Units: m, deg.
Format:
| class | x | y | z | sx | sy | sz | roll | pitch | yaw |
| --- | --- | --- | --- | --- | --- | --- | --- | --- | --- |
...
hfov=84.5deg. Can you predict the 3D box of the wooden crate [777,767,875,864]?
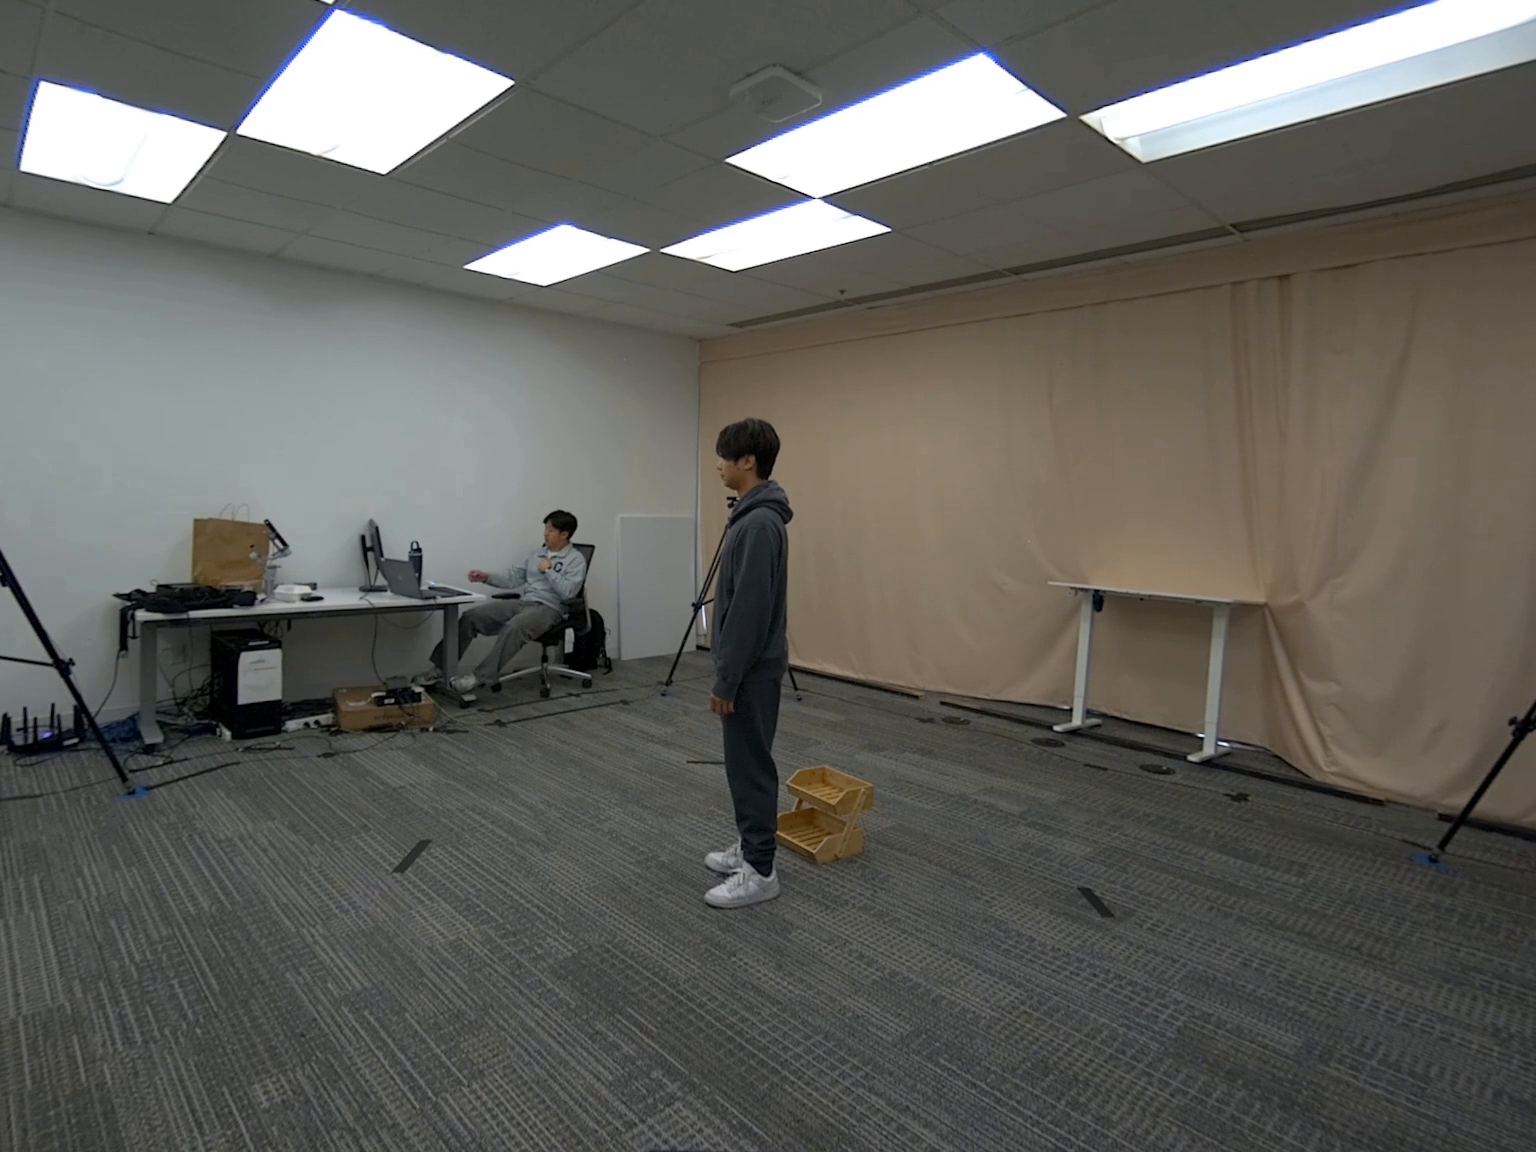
| class | x | y | z | sx | sy | sz | roll | pitch | yaw |
| --- | --- | --- | --- | --- | --- | --- | --- | --- | --- |
| wooden crate | 0.203 | 0.954 | 3.413 | 0.295 | 0.273 | 0.332 | 0 | 4 | -37 |
